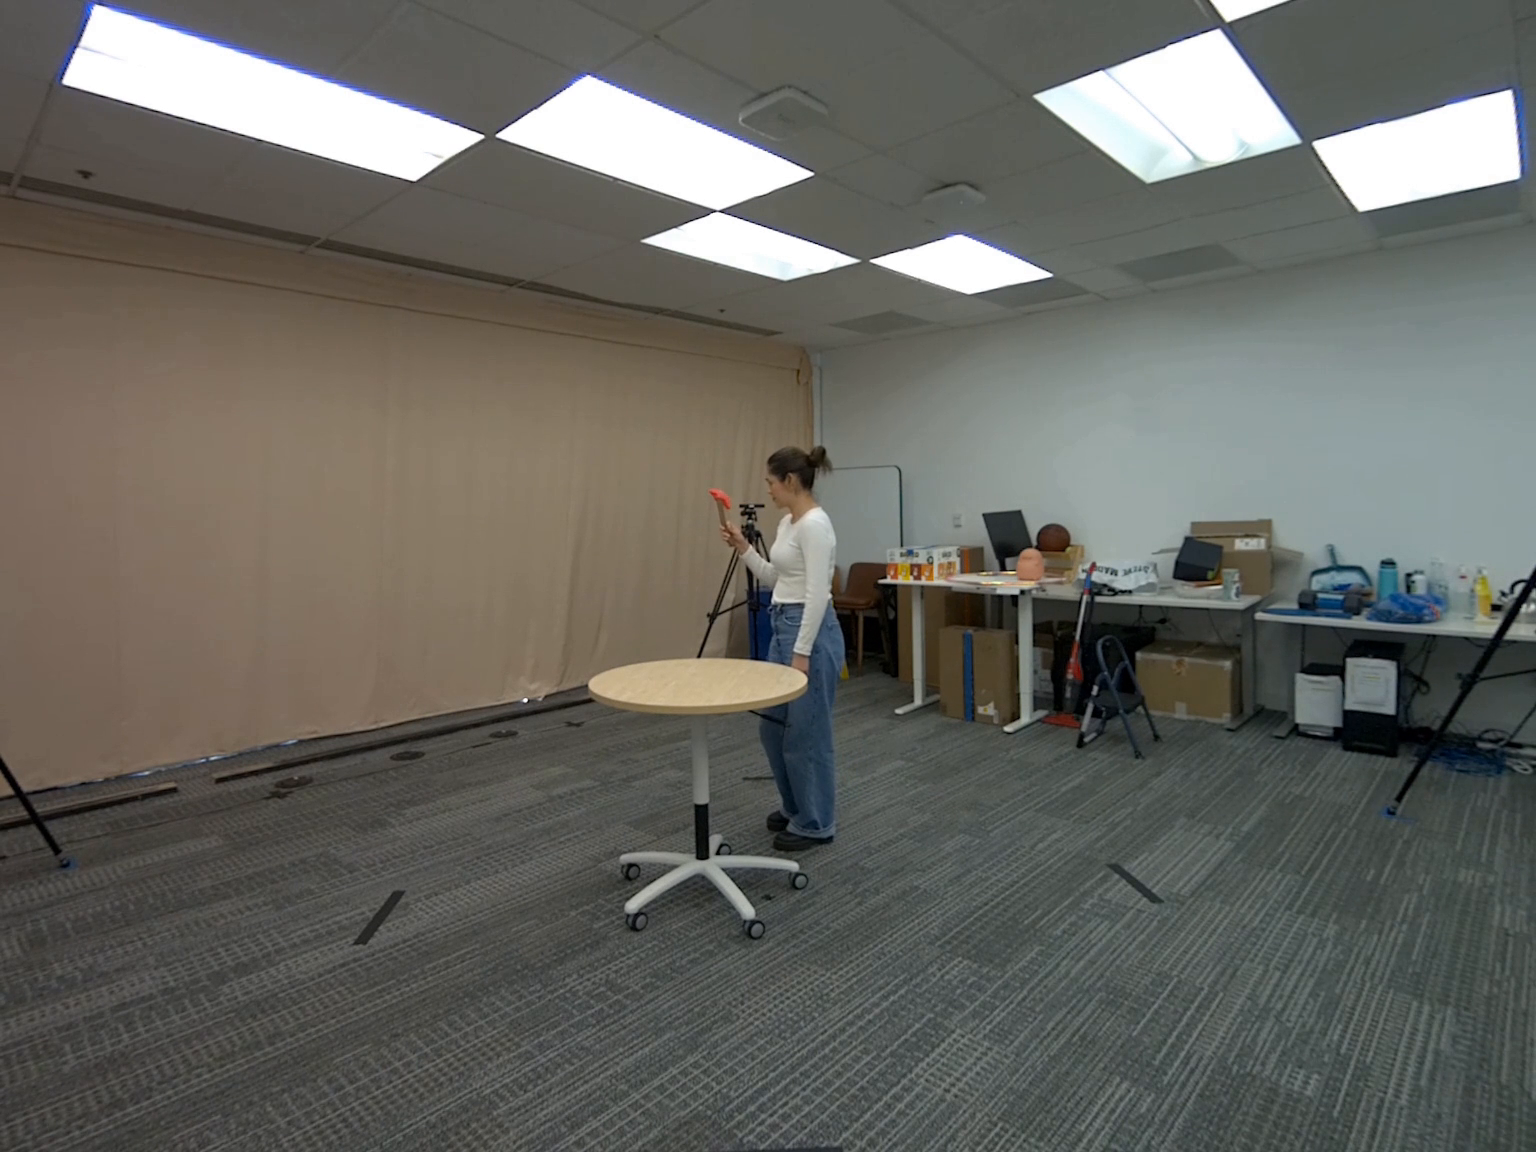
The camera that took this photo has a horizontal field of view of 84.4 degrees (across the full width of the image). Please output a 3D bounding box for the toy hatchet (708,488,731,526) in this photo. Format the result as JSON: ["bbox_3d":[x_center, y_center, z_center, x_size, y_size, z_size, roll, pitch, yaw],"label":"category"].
[{"bbox_3d":[-0.167,-0.253,3.589,0.030,0.274,0.127,-33,-19,30],"label":"toy hatchet"}]
